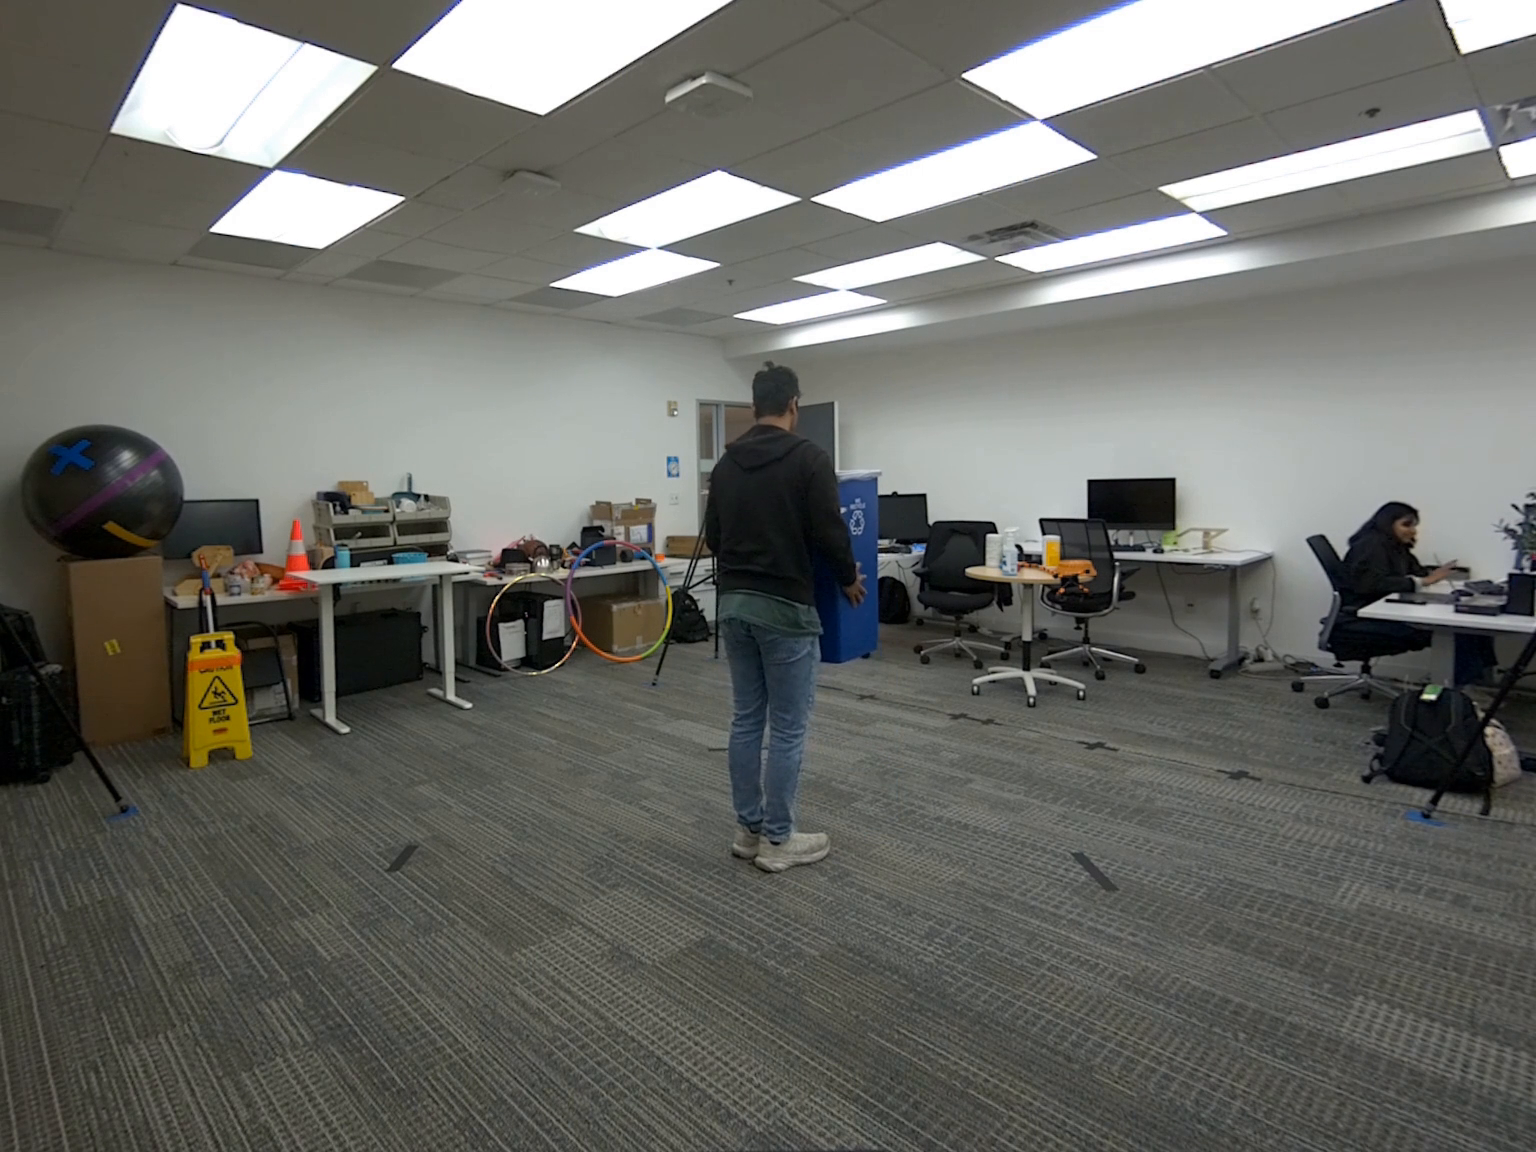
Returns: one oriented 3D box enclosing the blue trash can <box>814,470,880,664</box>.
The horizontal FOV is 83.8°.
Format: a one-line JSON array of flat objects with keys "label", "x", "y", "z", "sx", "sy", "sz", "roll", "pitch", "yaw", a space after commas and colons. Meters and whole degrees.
[{"label": "blue trash can", "x": 0.225, "y": -0.051, "z": 3.391, "sx": 0.389, "sy": 0.709, "sz": 0.366, "roll": 2, "pitch": 8, "yaw": 37}]
